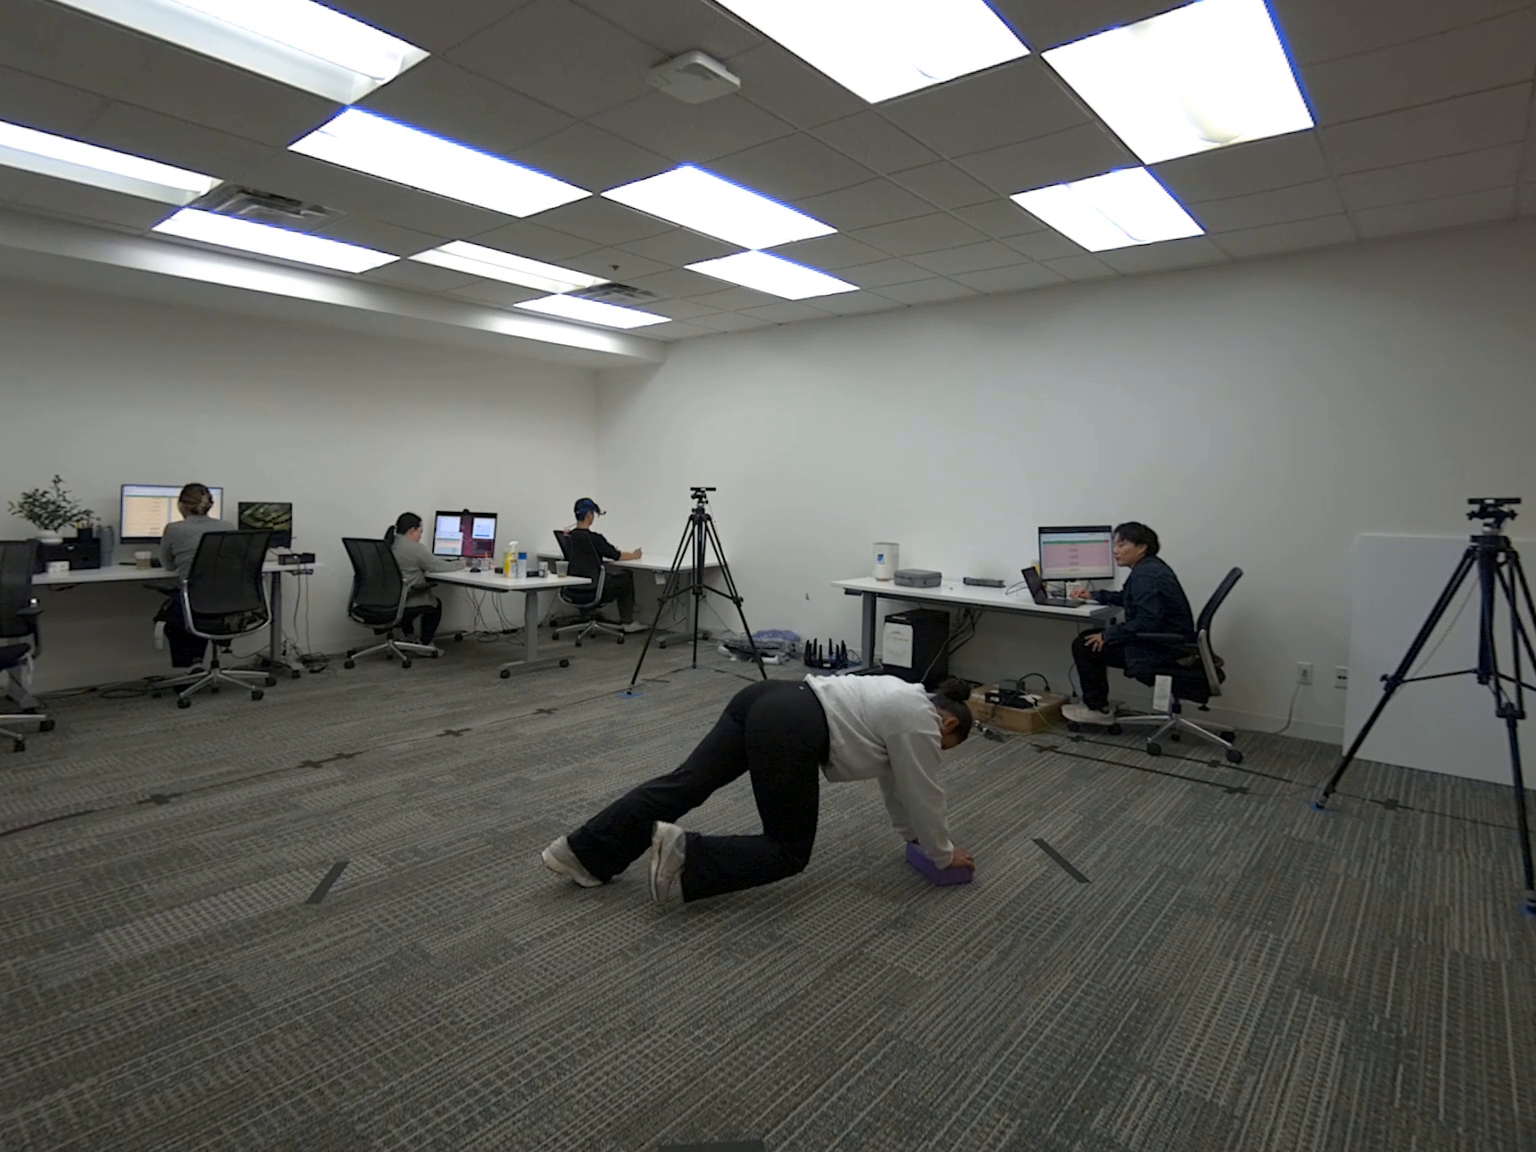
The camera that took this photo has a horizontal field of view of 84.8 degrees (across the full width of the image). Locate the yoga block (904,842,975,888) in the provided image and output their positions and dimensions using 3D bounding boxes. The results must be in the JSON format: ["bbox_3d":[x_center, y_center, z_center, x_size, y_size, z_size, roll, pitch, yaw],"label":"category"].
[{"bbox_3d":[0.625,1.054,3.137,0.146,0.076,0.235,-2,6,-20],"label":"yoga block"}]
